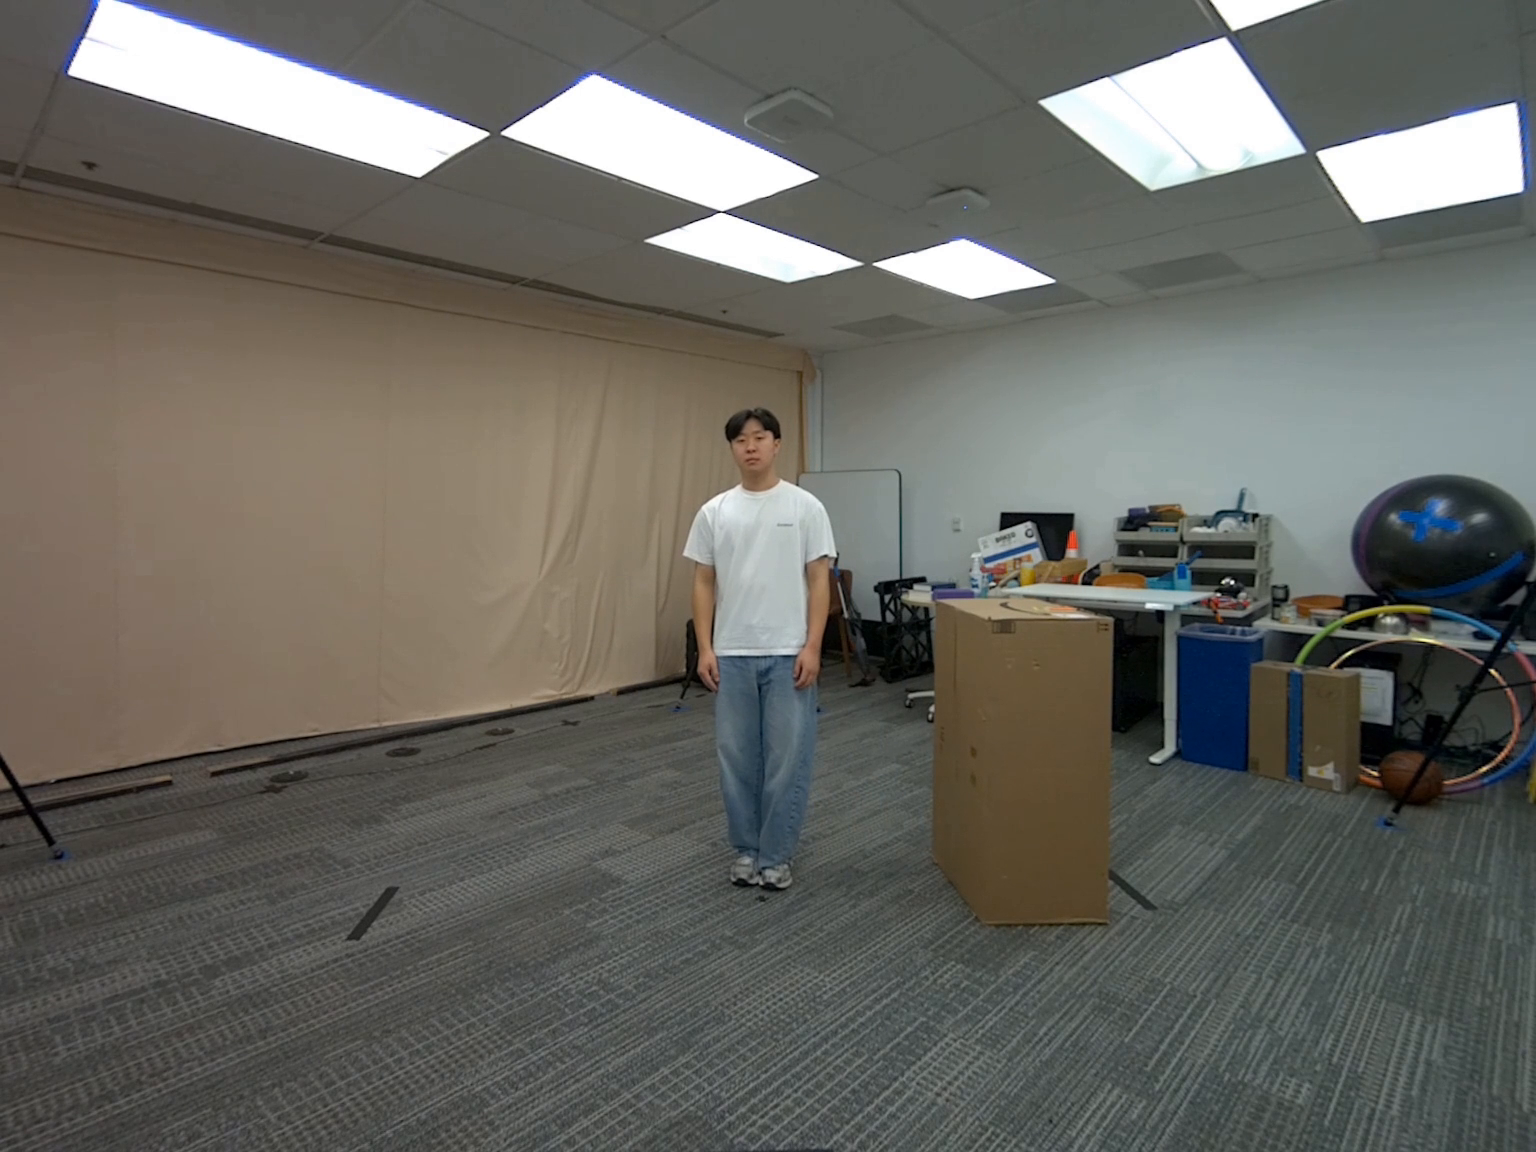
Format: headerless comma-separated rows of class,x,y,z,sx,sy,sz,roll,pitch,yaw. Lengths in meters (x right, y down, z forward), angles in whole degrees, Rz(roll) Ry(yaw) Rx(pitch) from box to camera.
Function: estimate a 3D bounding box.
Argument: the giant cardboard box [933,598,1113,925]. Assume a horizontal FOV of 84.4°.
giant cardboard box,0.901,0.627,3.044,0.424,1.024,0.581,0,3,-5
